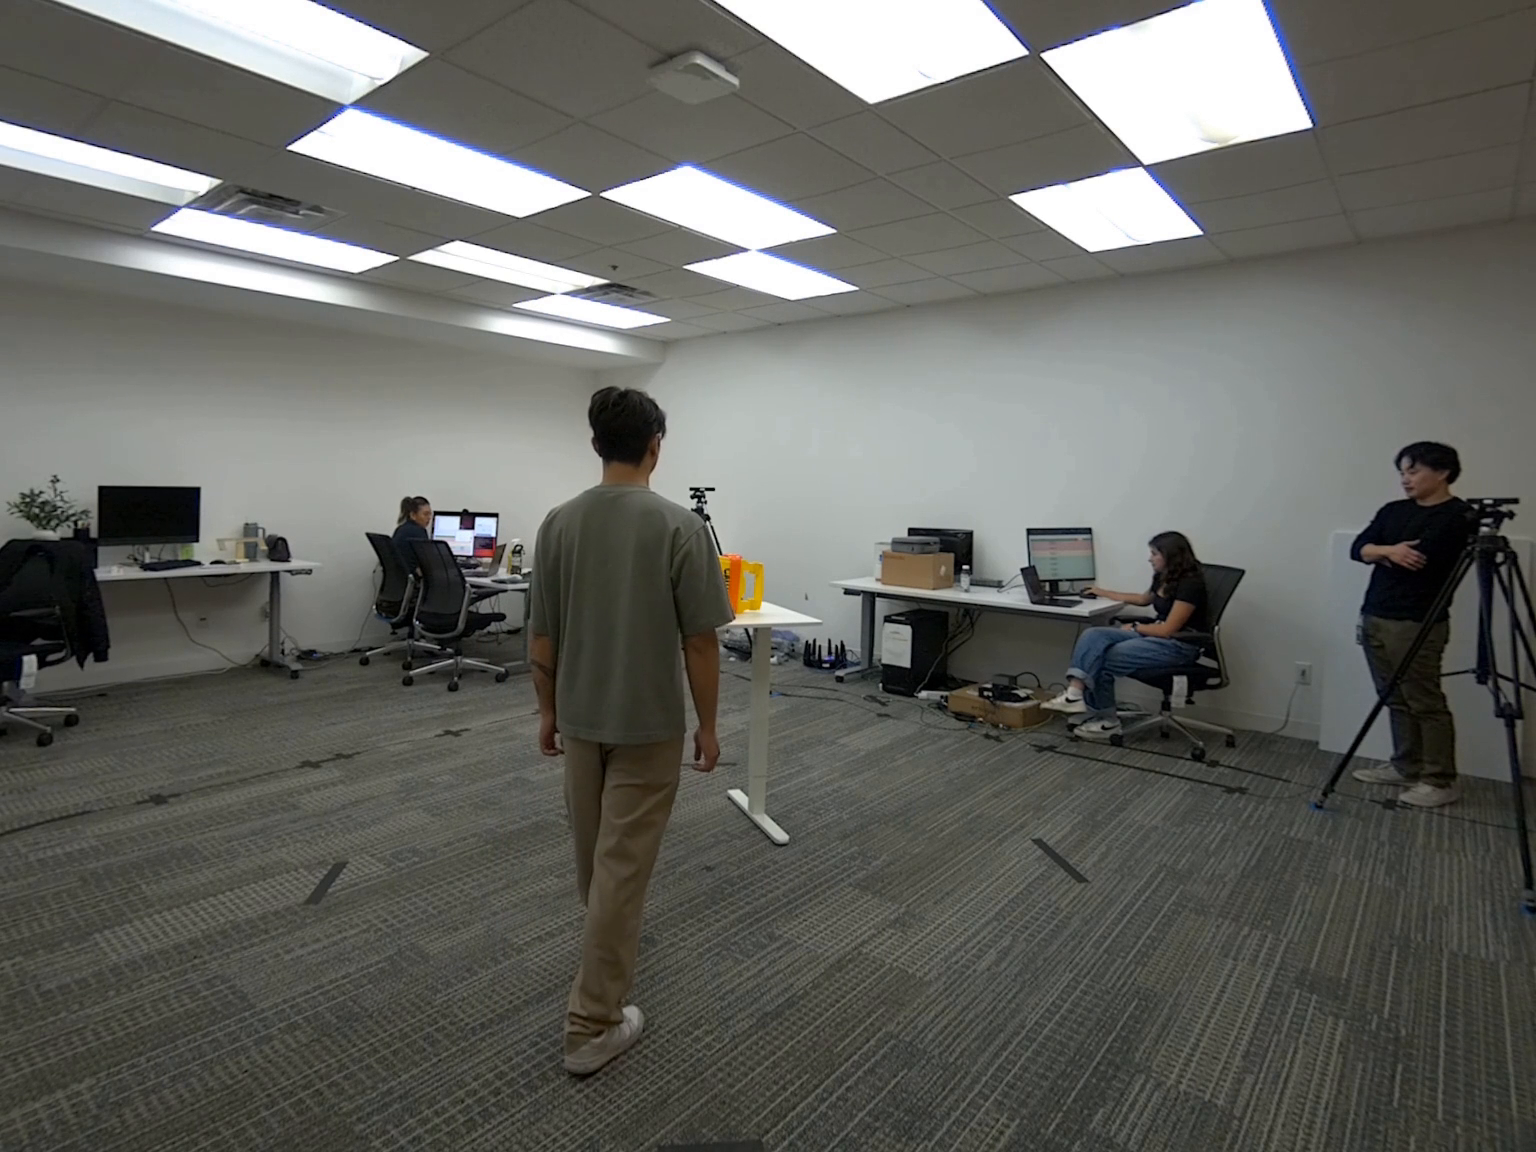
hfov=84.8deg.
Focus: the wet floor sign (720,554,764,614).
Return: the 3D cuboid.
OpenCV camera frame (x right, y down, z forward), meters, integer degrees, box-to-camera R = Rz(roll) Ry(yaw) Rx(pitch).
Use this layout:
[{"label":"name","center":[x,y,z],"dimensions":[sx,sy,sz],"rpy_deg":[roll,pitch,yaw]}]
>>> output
[{"label":"wet floor sign","center":[-0.333,0.030,3.426],"dimensions":[0.633,0.281,0.297],"rpy_deg":[2,4,-20]}]
